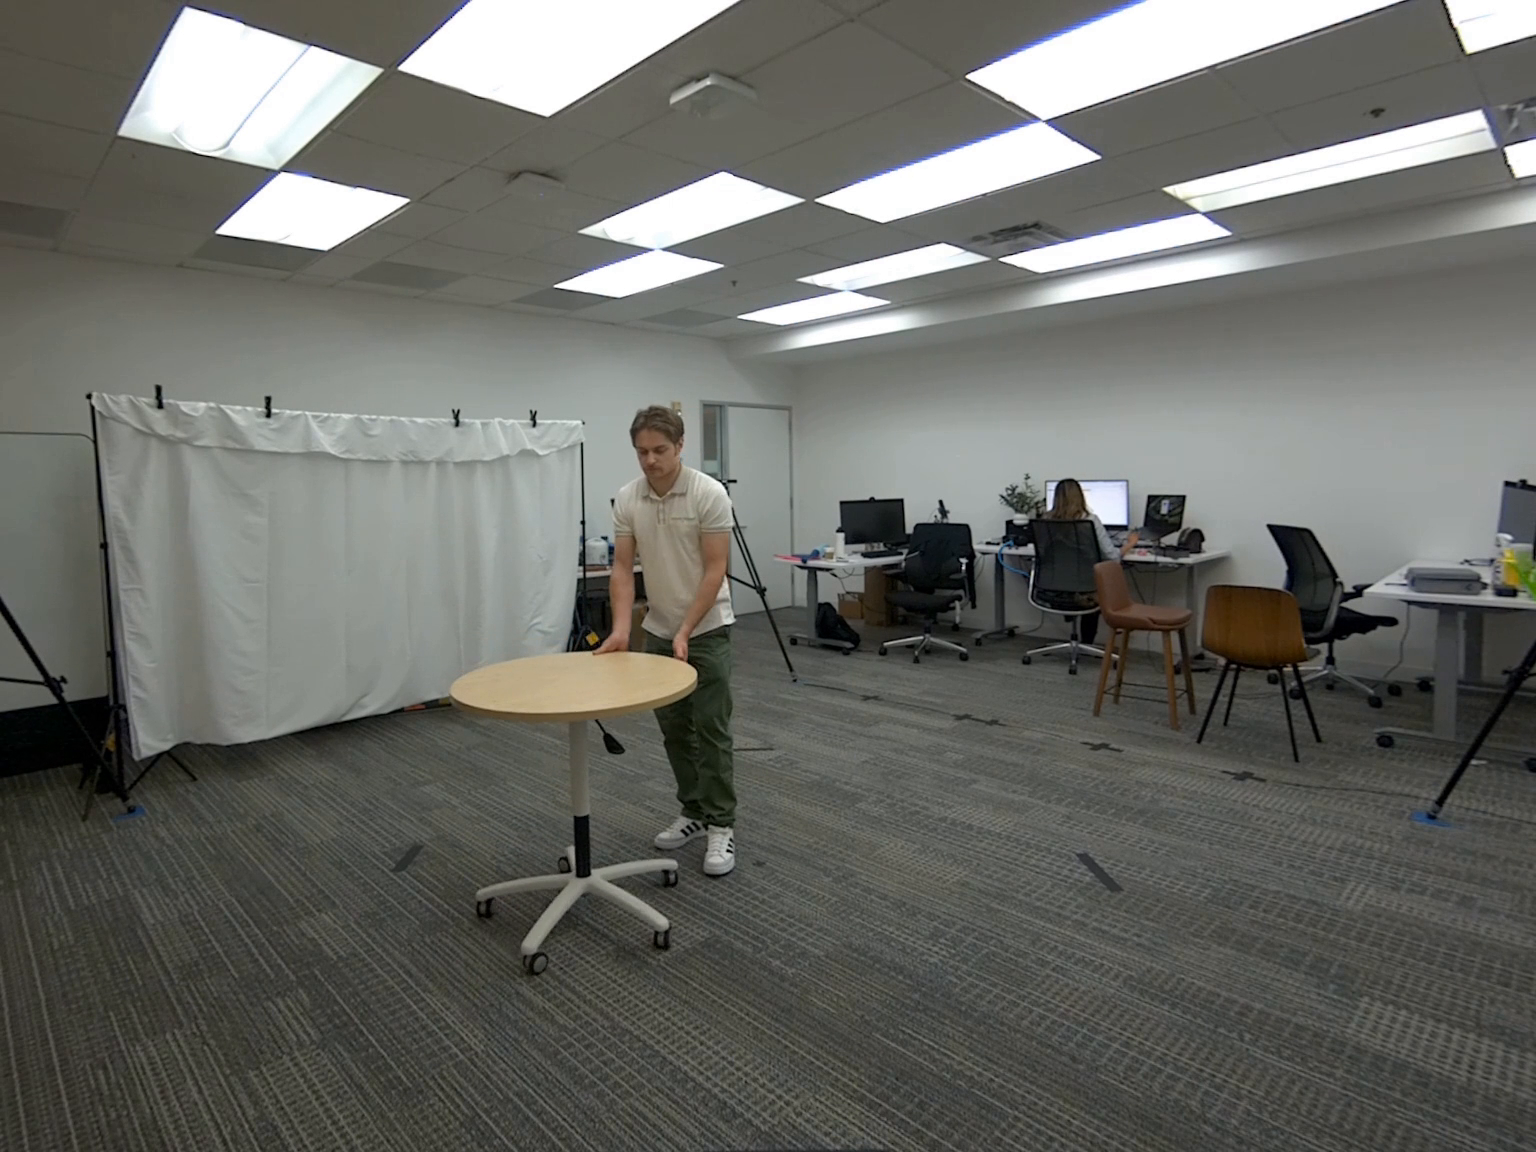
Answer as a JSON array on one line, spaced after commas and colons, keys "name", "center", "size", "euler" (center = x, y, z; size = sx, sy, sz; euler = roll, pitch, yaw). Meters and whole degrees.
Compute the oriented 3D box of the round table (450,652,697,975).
[{"name": "round table", "center": [-0.591, 0.714, 2.725], "size": [0.763, 0.790, 0.768], "euler": [-2, 6, -2]}]
